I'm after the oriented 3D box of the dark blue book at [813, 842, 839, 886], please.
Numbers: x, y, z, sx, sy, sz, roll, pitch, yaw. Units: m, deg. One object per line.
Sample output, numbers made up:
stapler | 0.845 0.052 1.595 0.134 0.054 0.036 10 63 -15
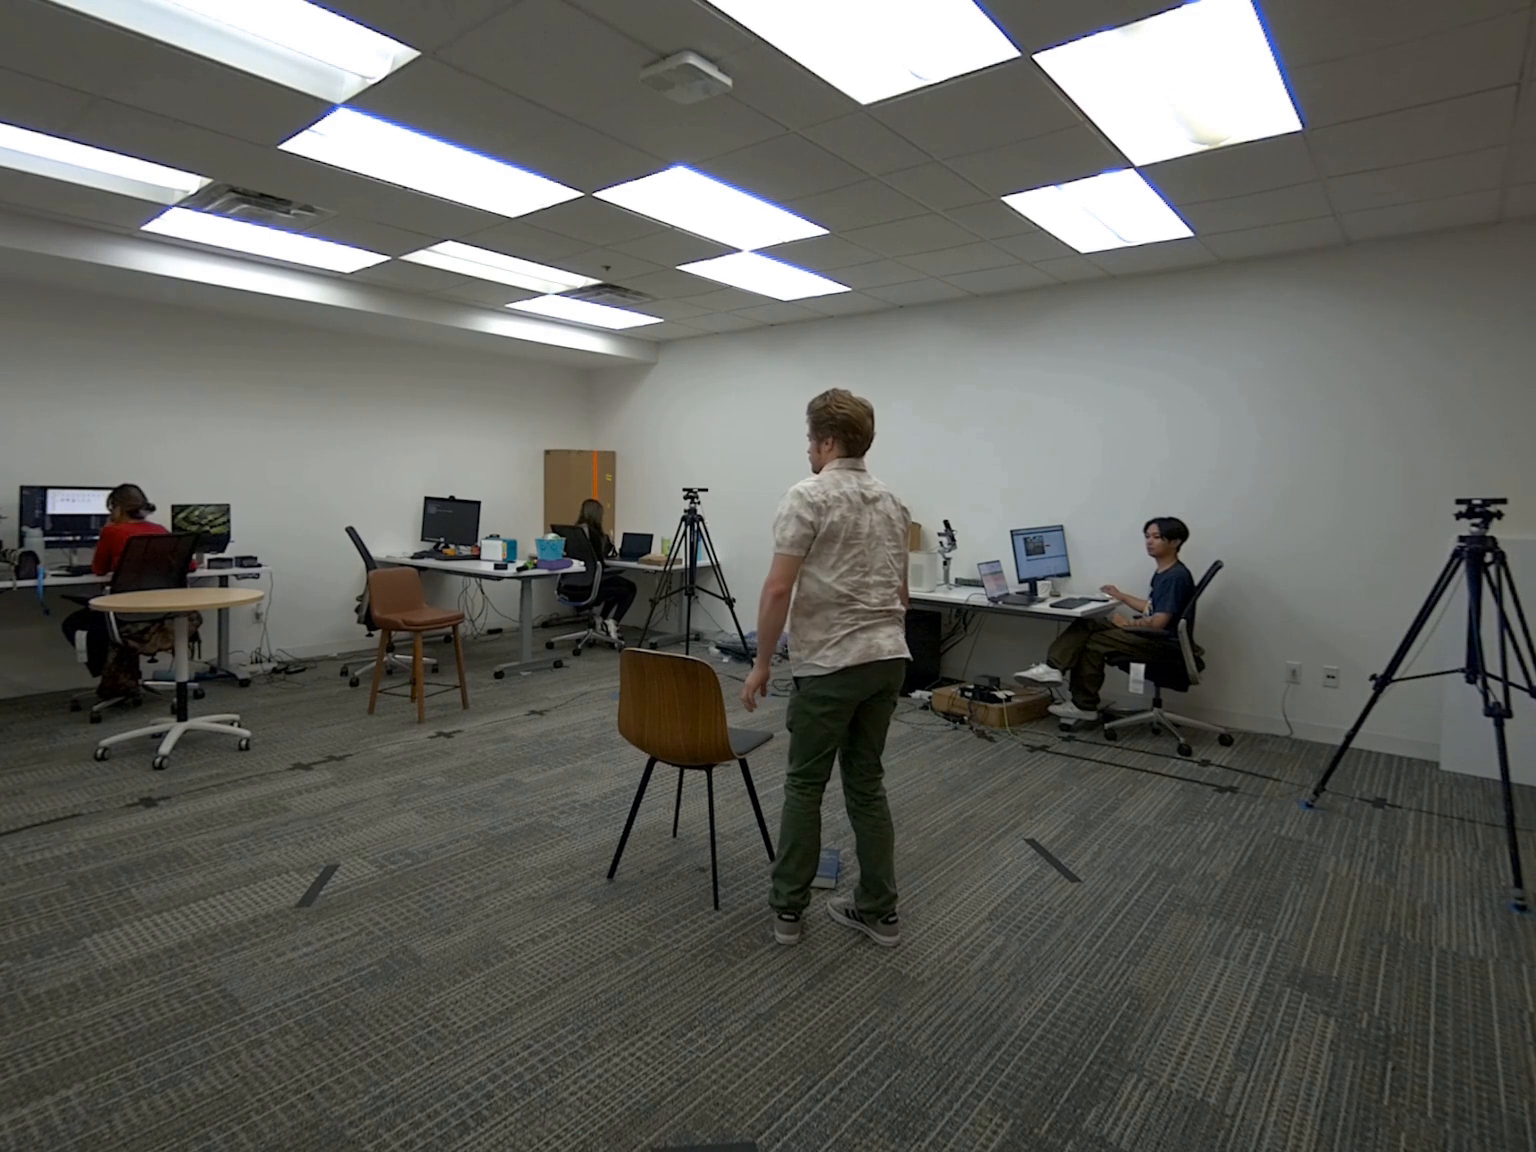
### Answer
dark blue book | 0.168 1.050 3.097 0.165 0.045 0.243 3 5 9
